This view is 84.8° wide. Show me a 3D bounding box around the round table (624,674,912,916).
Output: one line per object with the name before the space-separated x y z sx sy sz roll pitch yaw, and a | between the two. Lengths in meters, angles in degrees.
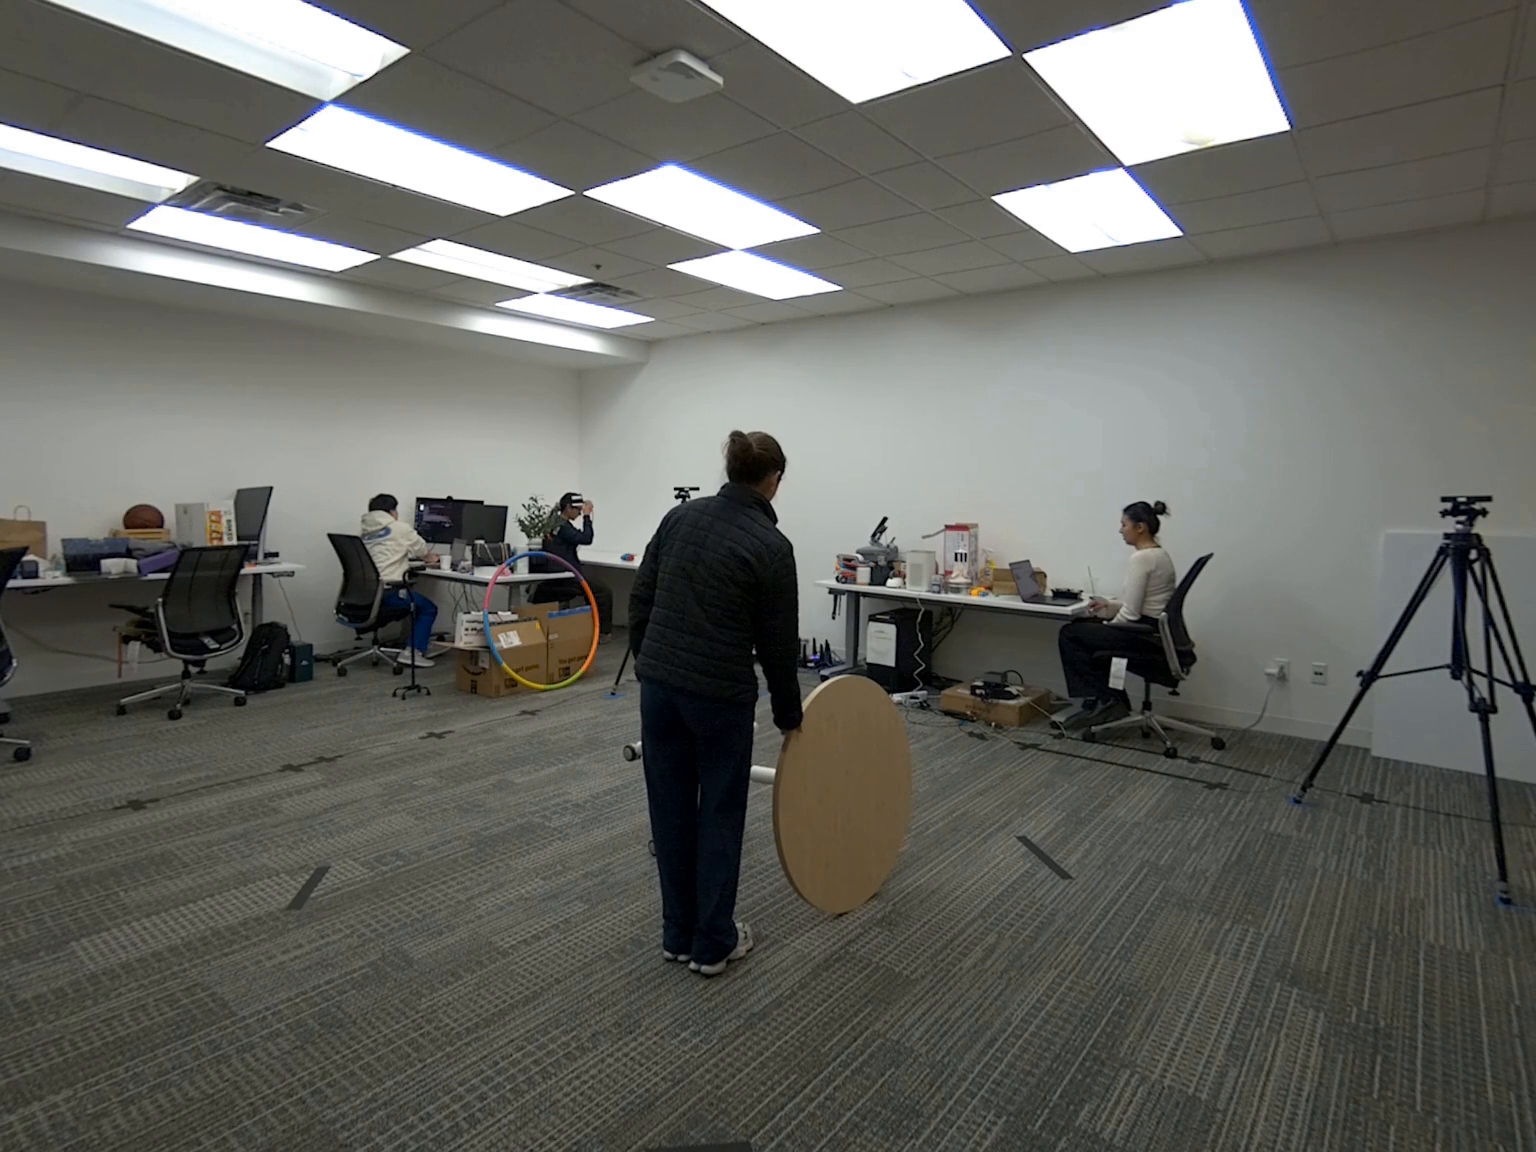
round table | -0.009 0.722 3.135 0.810 0.785 0.761 -3 1 42
